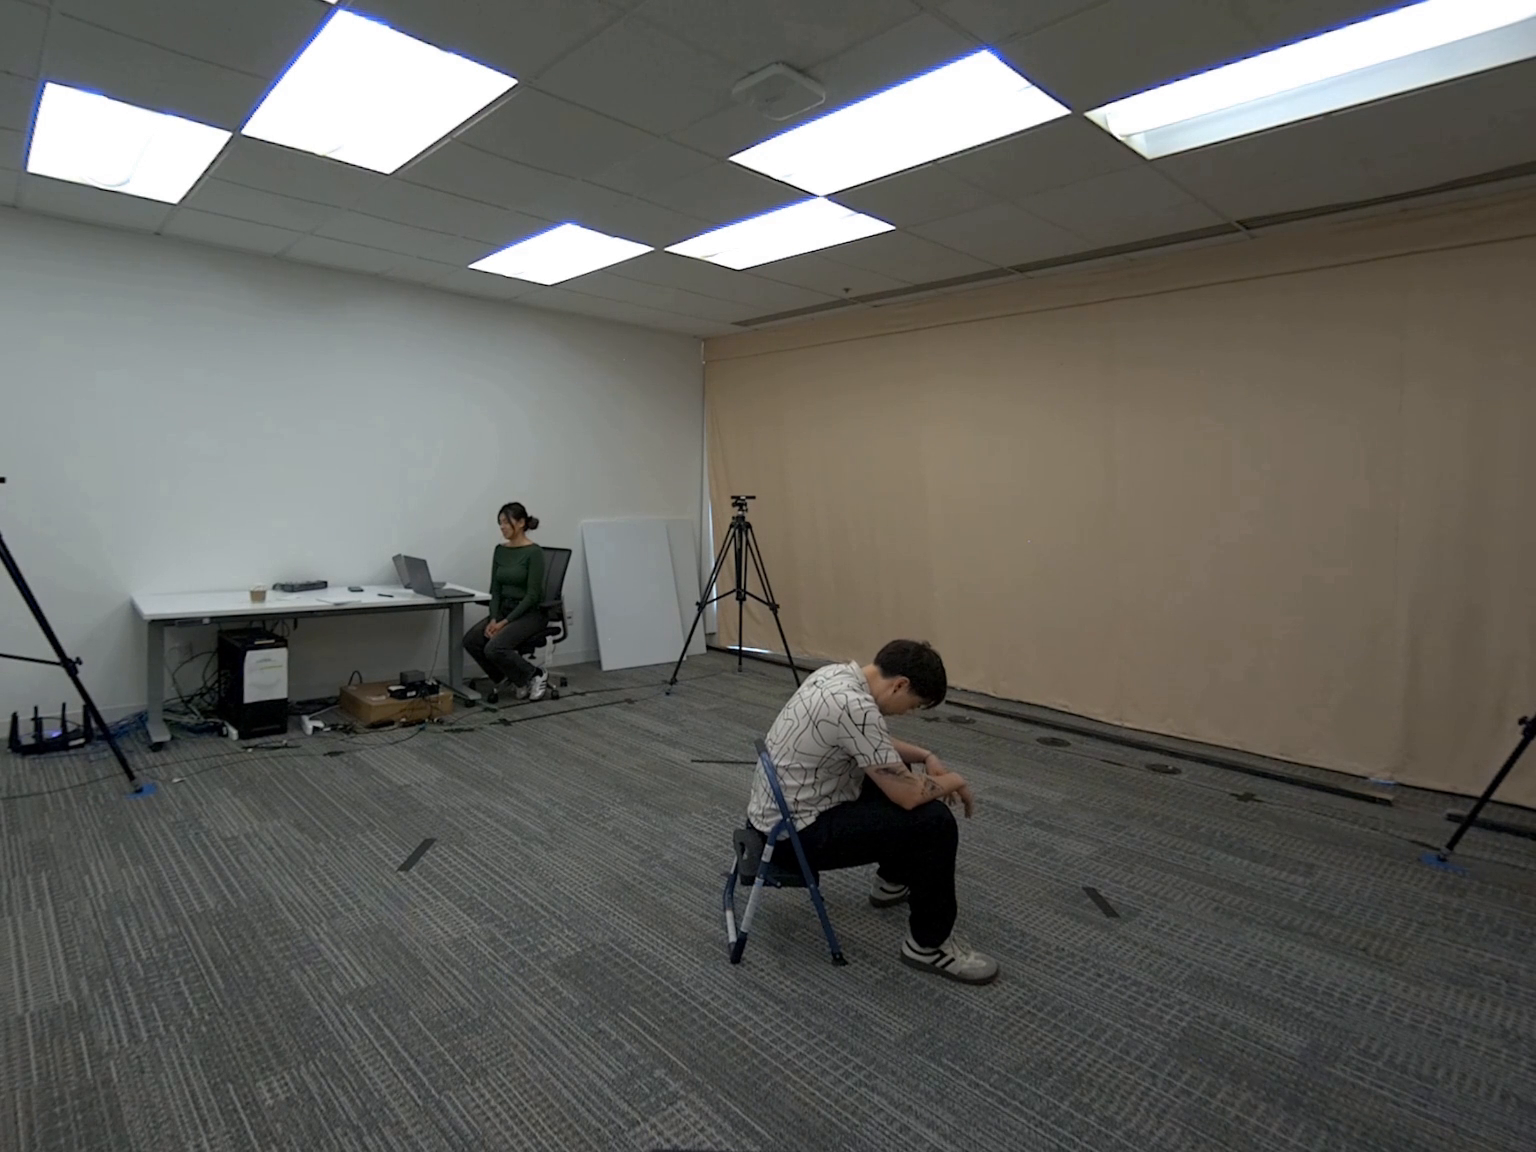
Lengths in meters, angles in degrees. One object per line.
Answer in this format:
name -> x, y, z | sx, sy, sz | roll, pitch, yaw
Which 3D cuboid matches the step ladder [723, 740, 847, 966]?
step ladder -> 0.040, 0.845, 2.699 | 0.347, 0.604, 0.434 | 1, 4, -7
